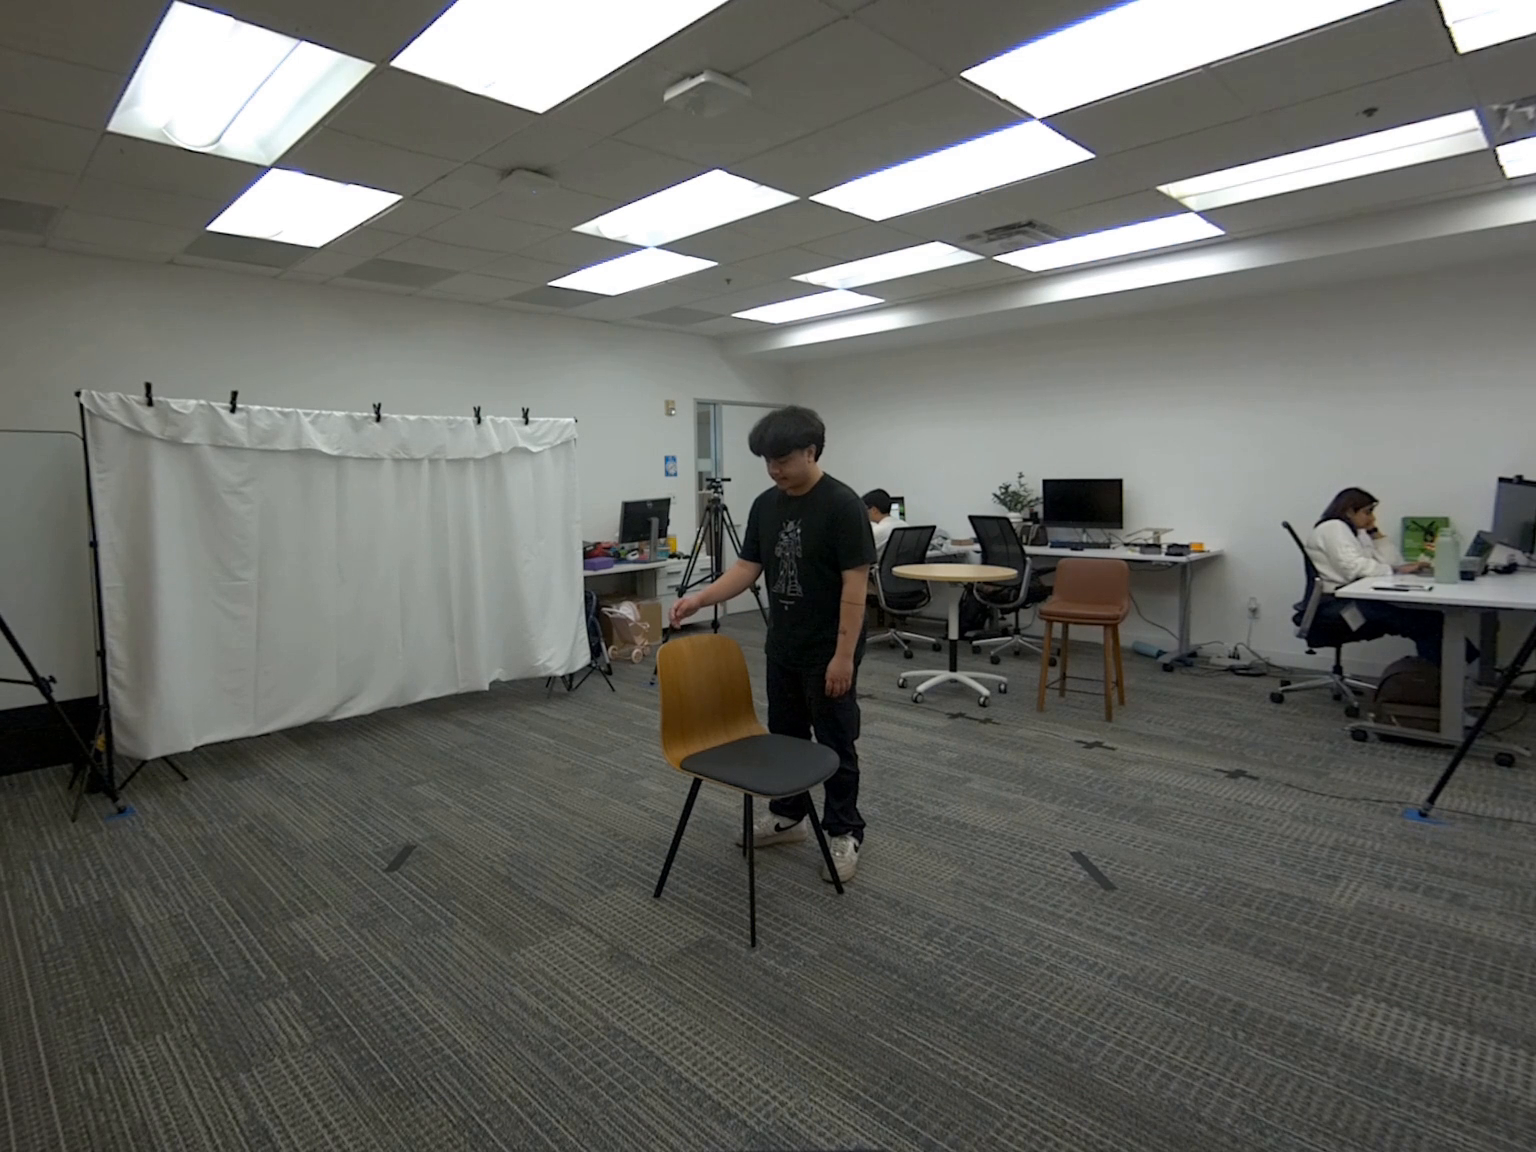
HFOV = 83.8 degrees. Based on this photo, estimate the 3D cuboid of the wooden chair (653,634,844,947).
[{"bbox_3d":[-0.065,0.648,2.821,0.538,0.877,0.465,-3,1,43],"label":"wooden chair"}]
